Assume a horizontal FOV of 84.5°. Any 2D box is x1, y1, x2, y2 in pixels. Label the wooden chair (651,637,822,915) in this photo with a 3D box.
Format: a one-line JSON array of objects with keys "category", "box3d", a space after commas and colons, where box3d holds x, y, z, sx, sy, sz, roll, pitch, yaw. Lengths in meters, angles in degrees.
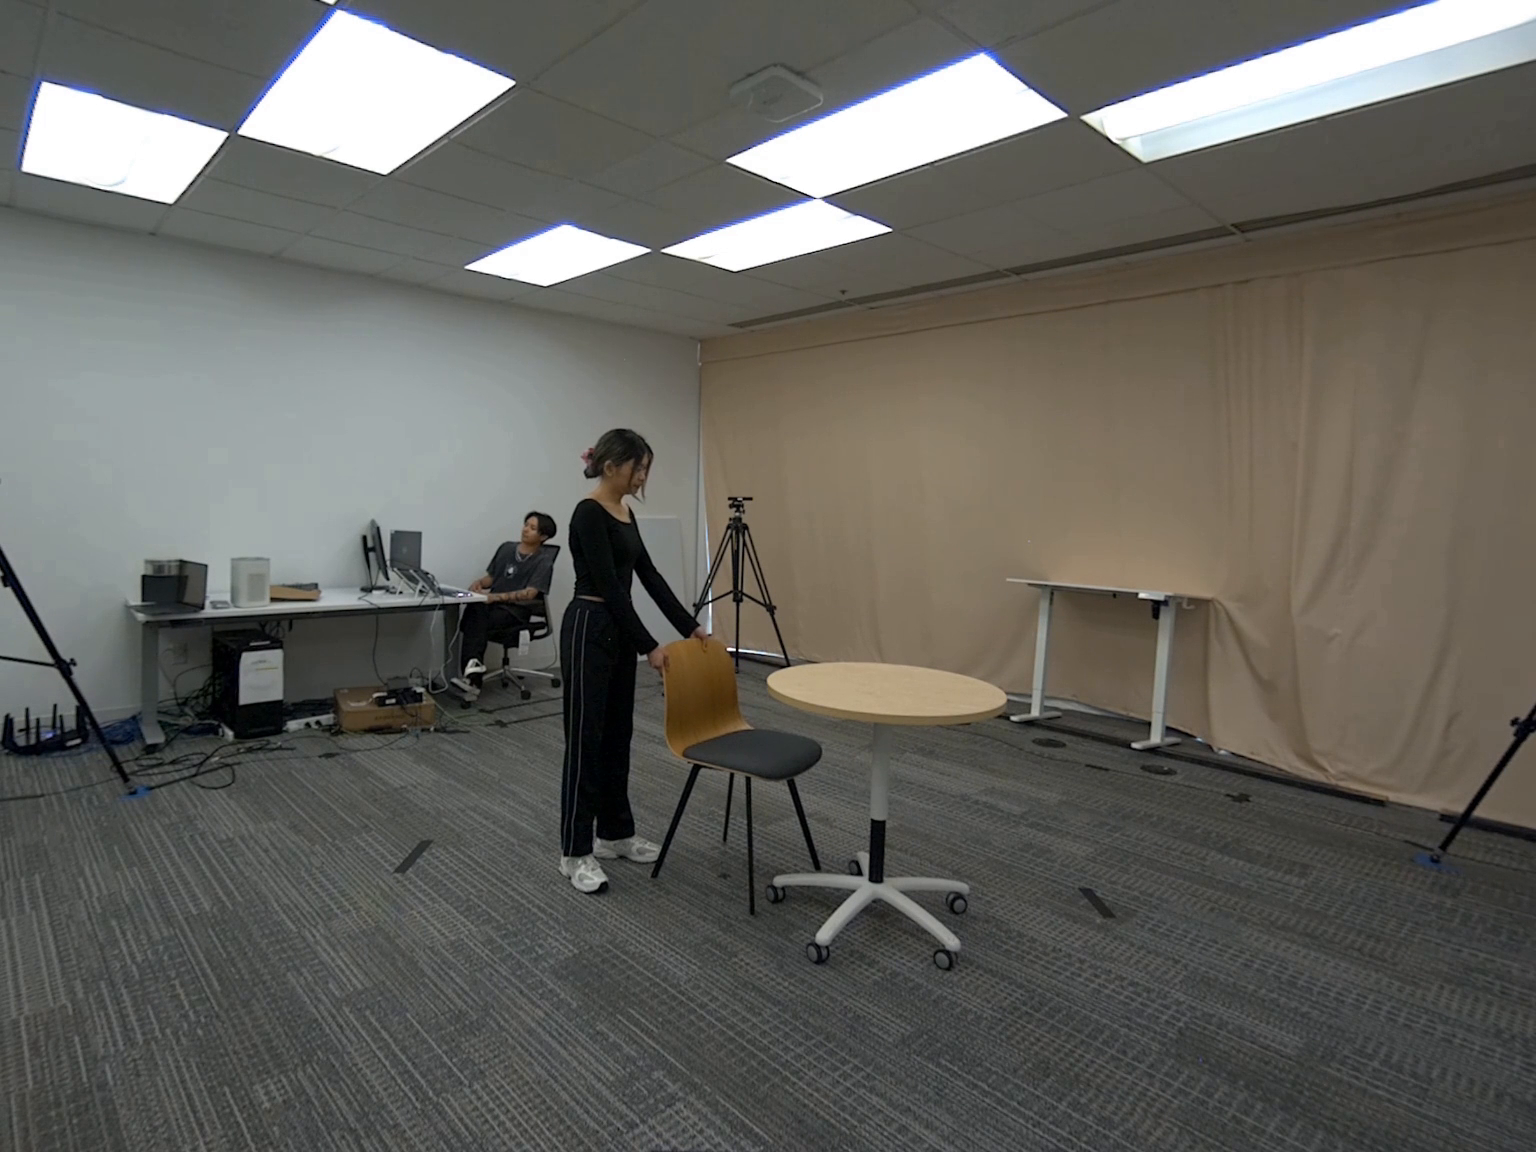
[{"category": "wooden chair", "box3d": [-0.106, 0.678, 3.089, 0.535, 0.877, 0.468, -2, 0, 36]}]
